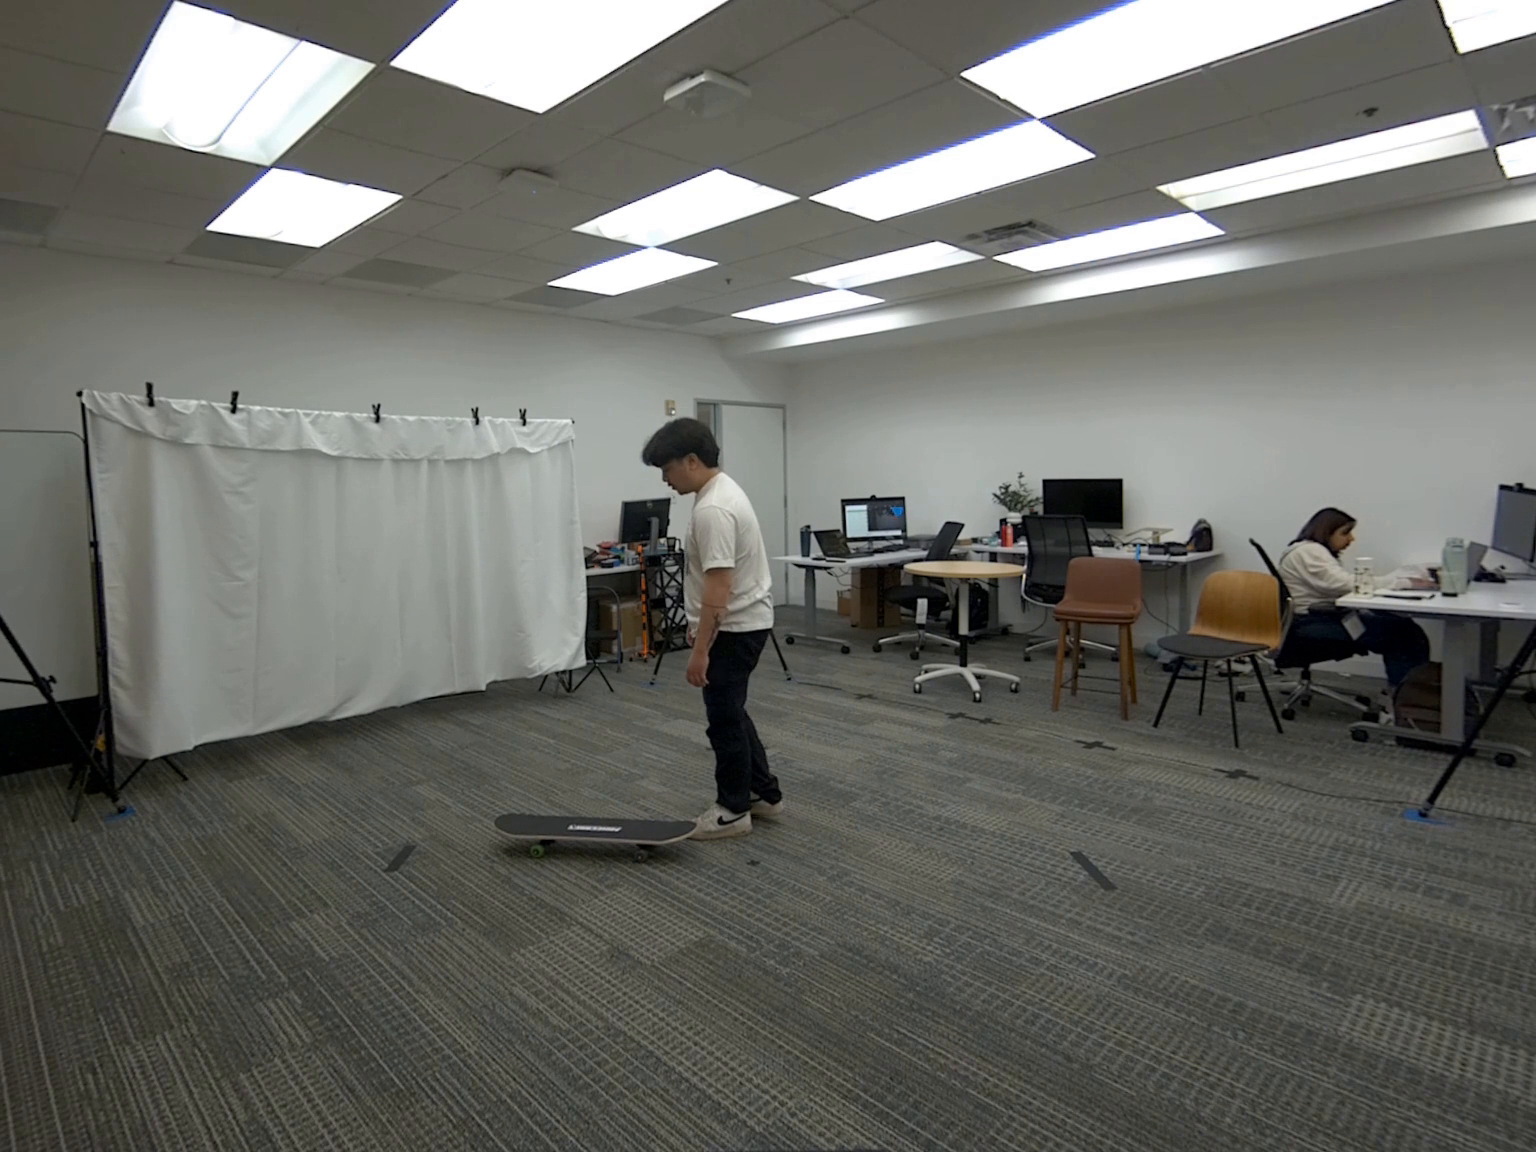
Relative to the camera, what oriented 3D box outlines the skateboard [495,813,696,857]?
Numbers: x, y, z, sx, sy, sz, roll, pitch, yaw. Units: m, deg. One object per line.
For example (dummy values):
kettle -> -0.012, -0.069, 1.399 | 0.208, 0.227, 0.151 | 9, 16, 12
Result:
skateboard -> -0.654, 0.984, 3.229 | 0.793, 0.110, 0.192 | 0, 6, 9
